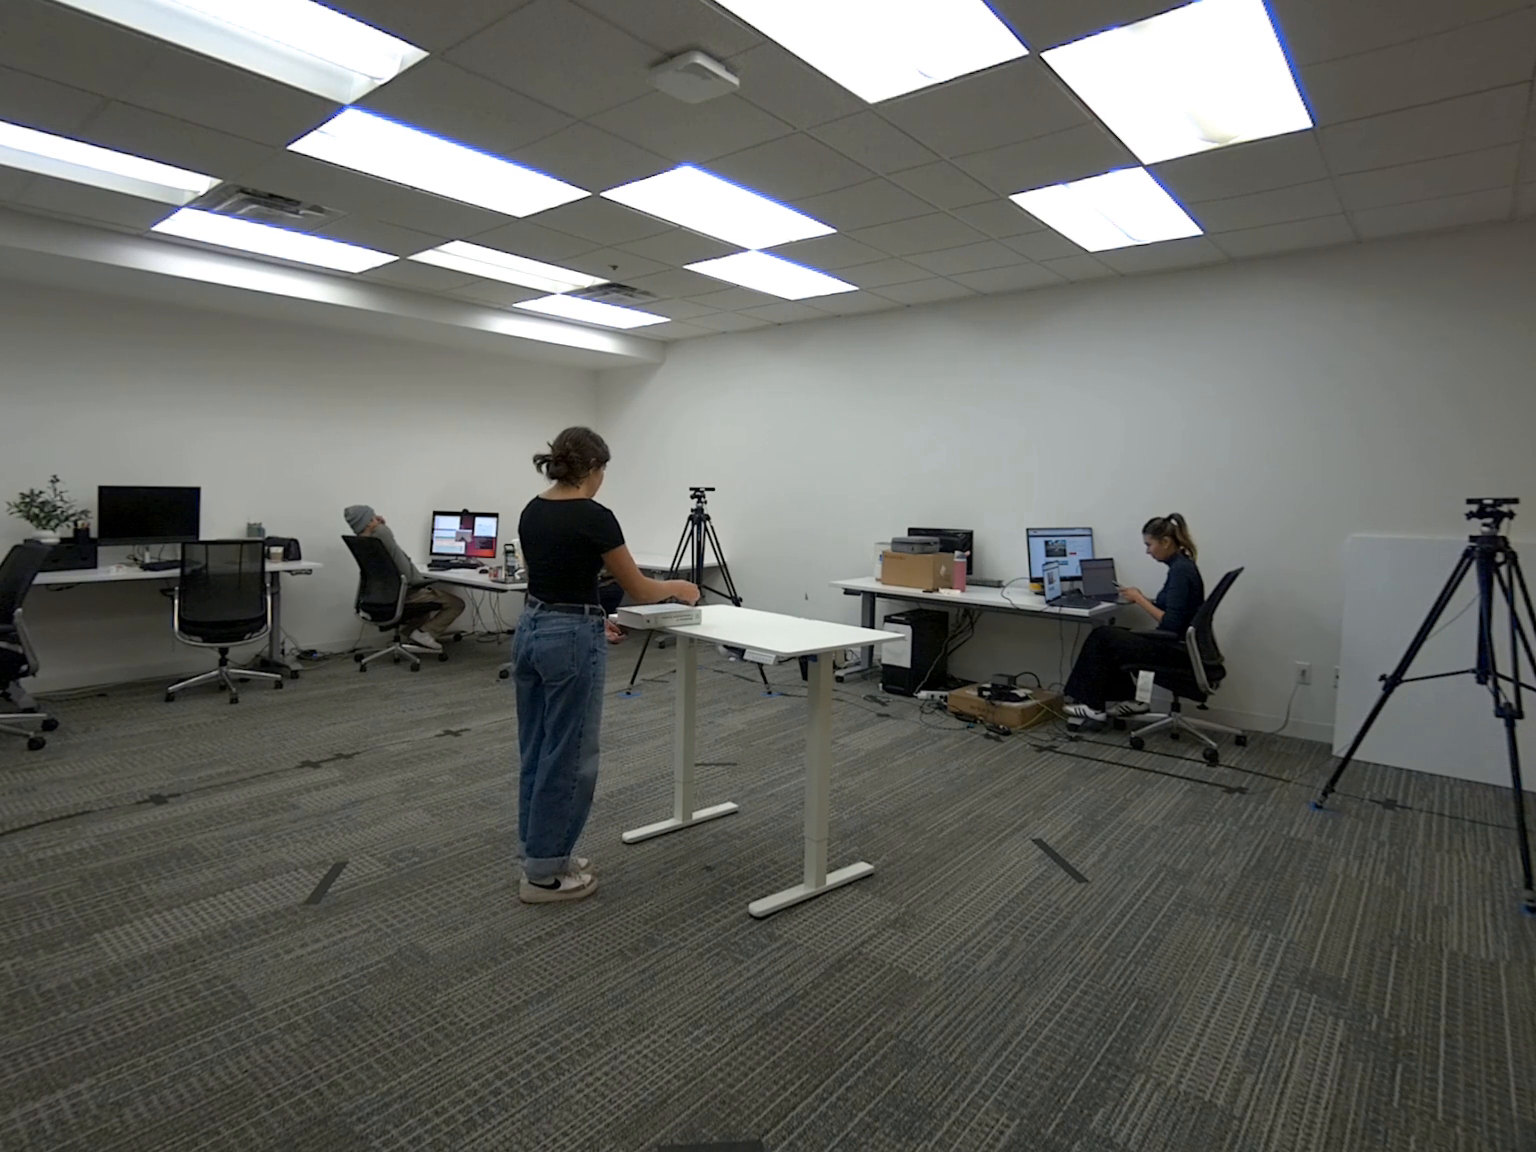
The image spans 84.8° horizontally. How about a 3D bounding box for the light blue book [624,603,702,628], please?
[{"bbox_3d":[-0.415,0.147,3.171,0.253,0.059,0.197,-4,6,-38],"label":"light blue book"}]
